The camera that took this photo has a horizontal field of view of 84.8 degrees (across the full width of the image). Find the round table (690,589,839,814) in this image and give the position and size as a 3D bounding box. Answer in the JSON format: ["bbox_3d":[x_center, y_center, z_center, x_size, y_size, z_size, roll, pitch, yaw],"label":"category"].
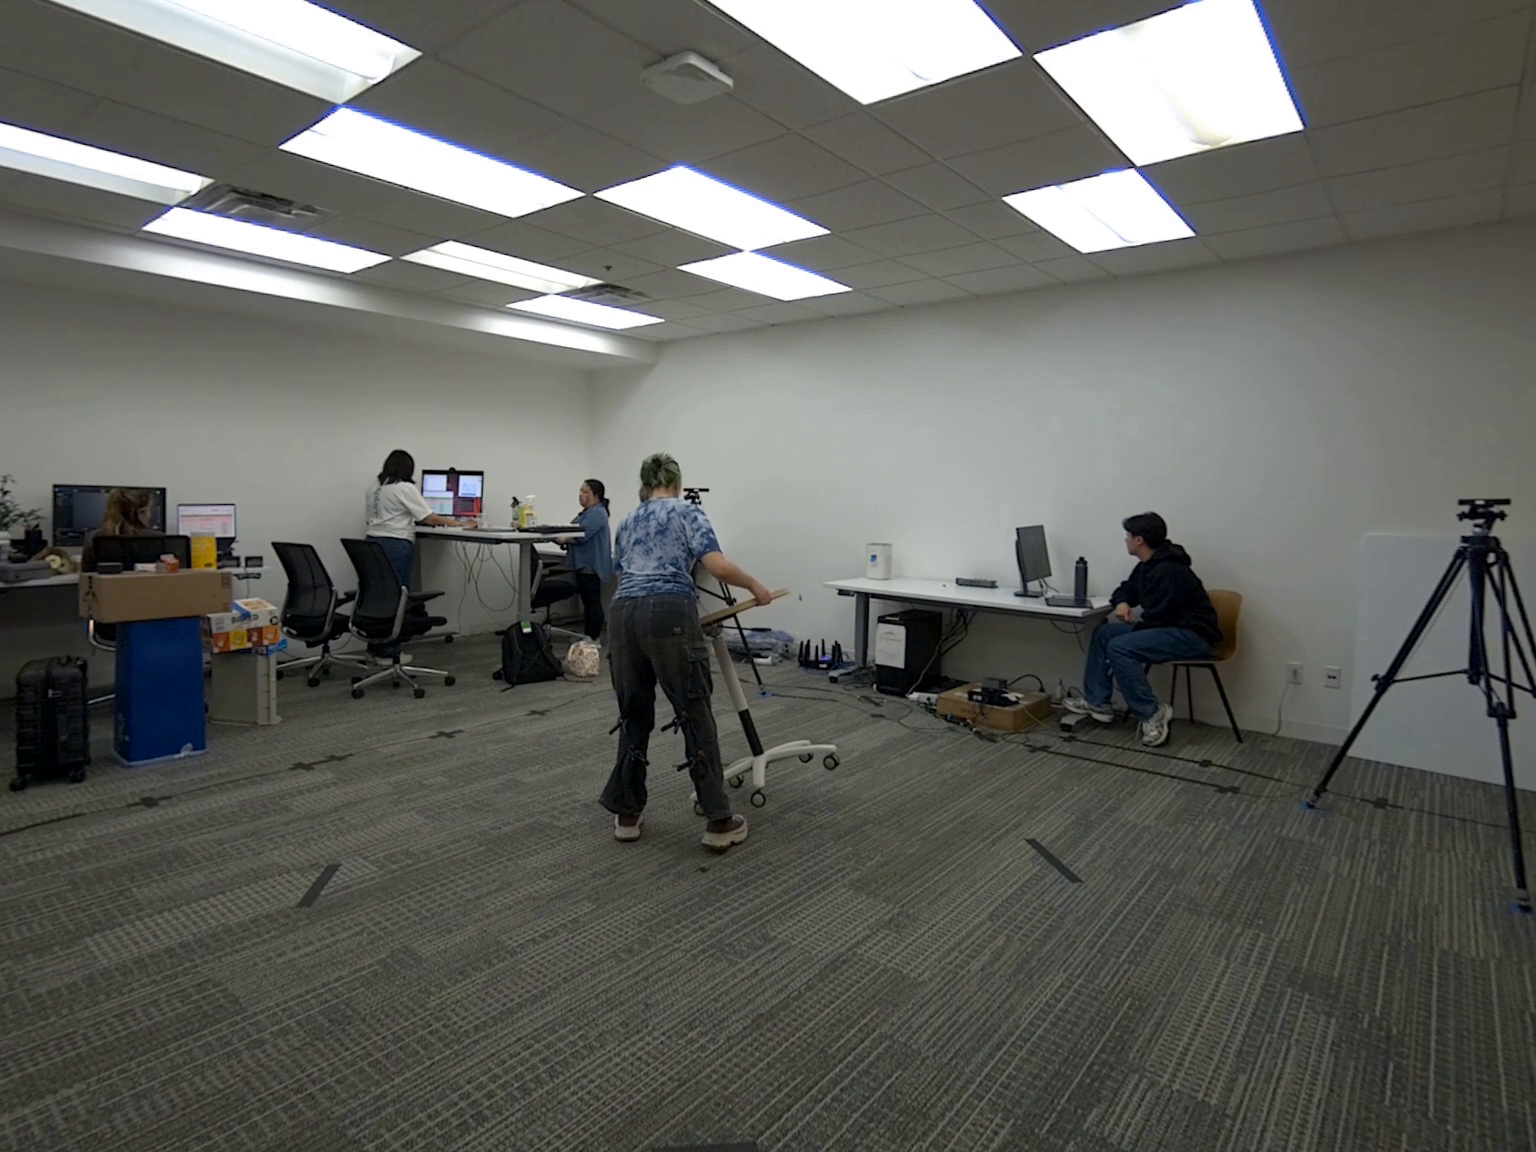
[{"bbox_3d":[-0.134,0.551,3.774,0.762,0.800,0.760,-19,-5,-4],"label":"round table"}]
